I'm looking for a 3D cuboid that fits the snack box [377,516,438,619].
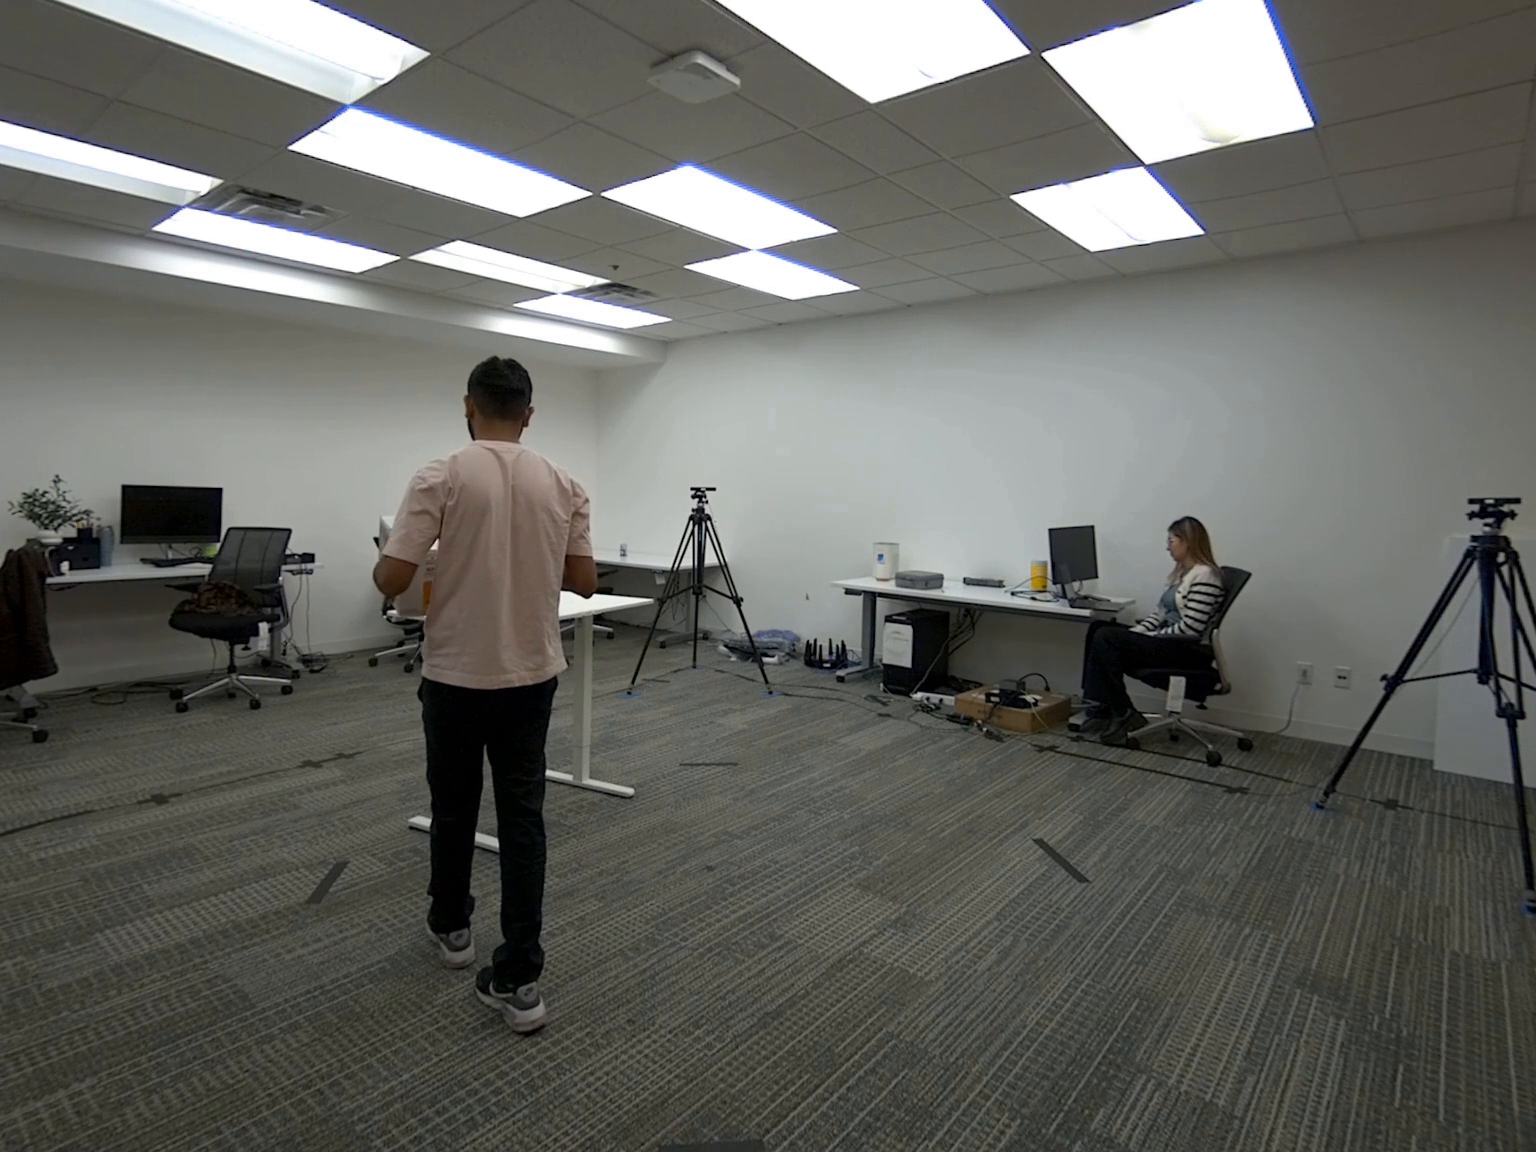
[{"bbox_3d":[-0.940,-0.044,2.579,0.394,0.203,0.354,-3,20,-33],"label":"snack box"}]
